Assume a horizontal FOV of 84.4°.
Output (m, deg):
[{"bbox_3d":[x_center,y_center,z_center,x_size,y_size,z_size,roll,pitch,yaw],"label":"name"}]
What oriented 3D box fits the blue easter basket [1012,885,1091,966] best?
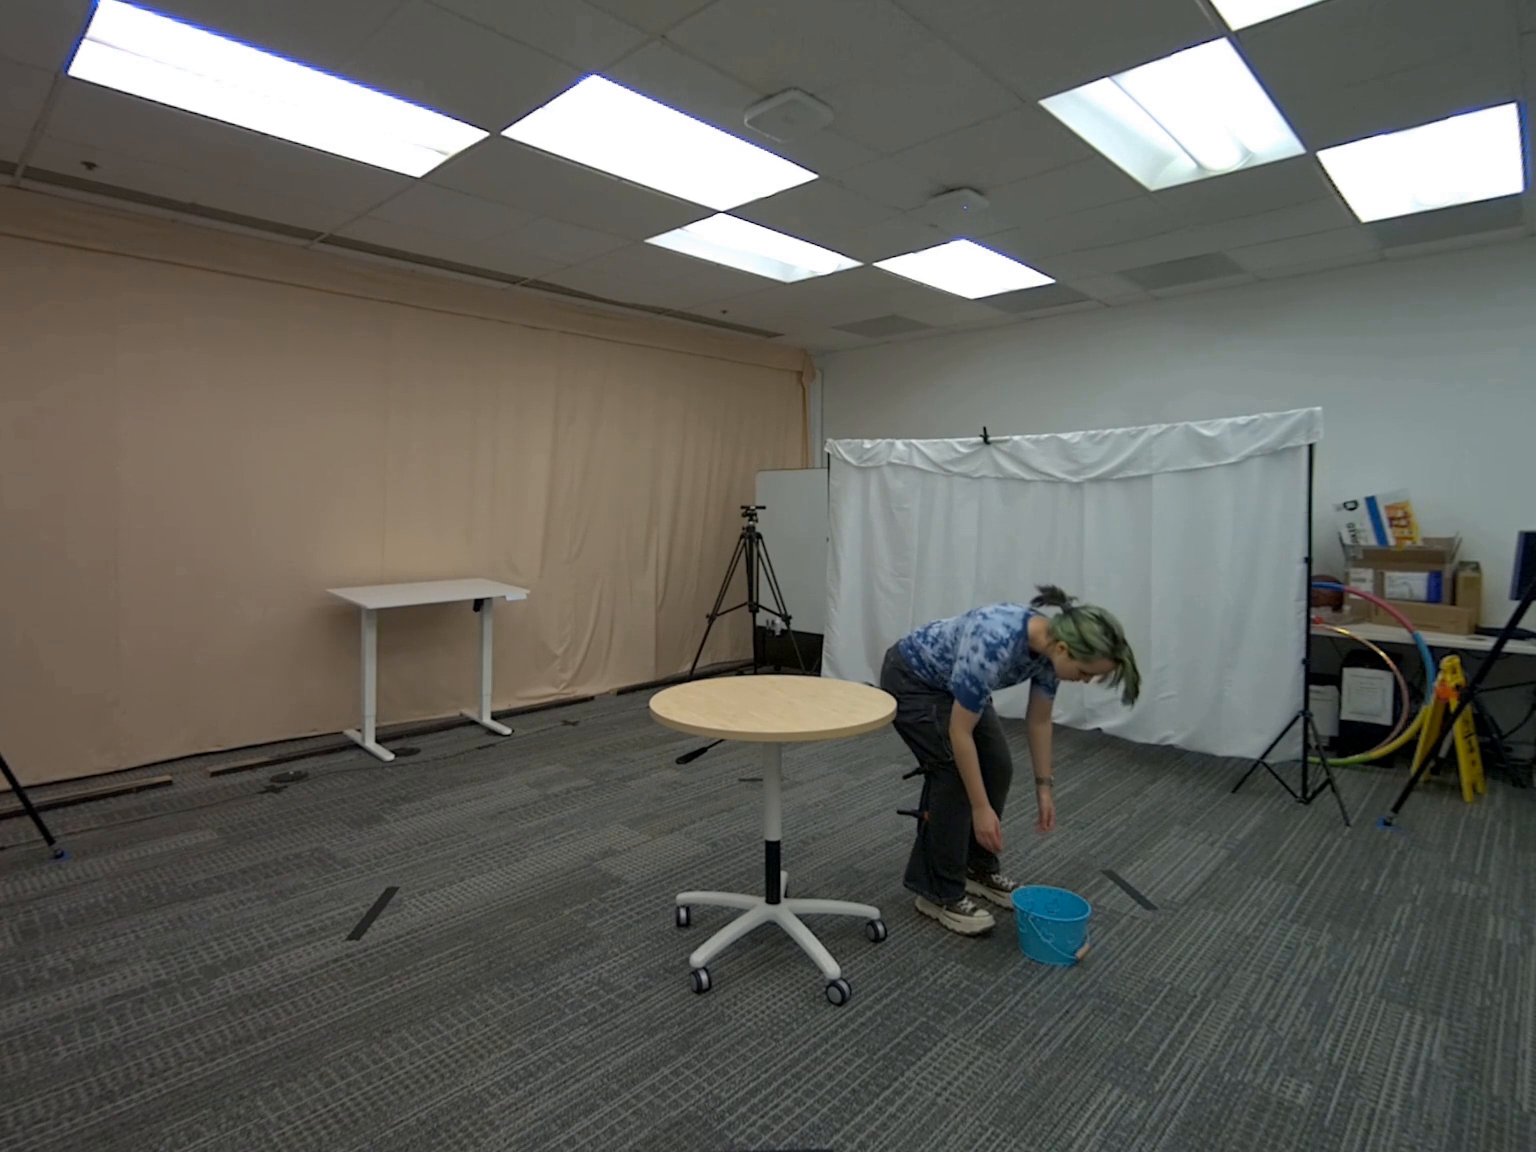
[{"bbox_3d":[0.880,1.089,2.633,0.243,0.155,0.244,0,5,-2],"label":"blue easter basket"}]
